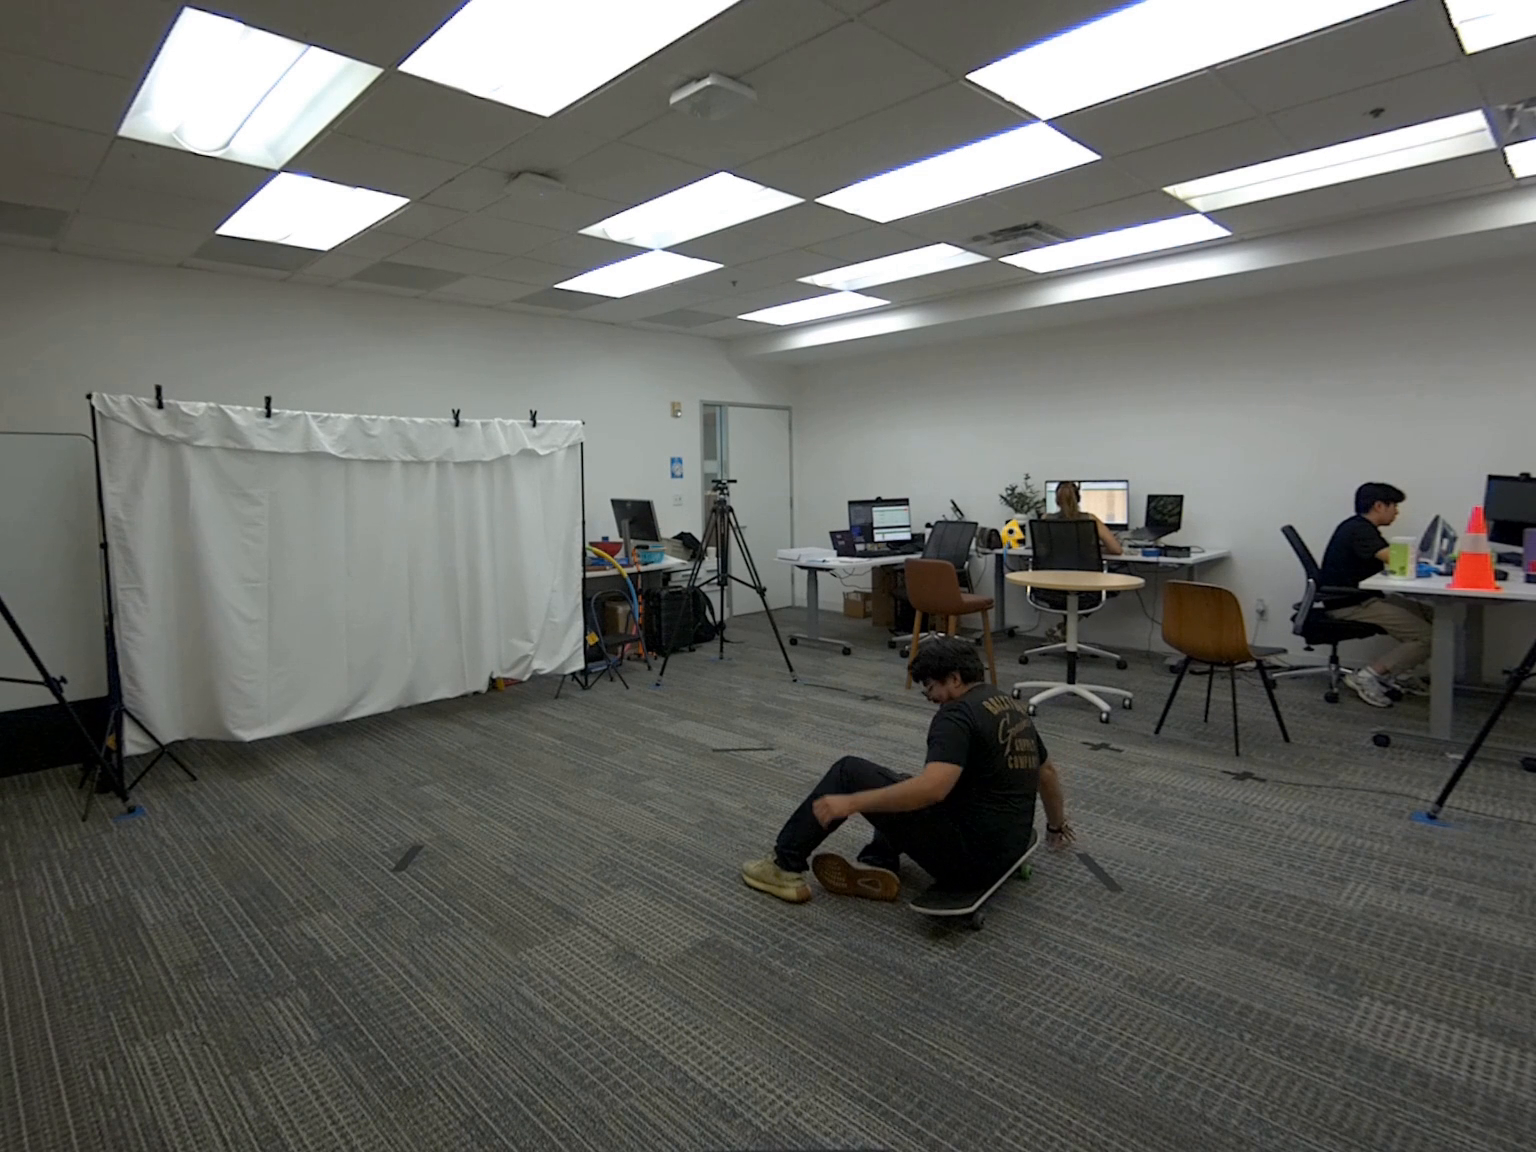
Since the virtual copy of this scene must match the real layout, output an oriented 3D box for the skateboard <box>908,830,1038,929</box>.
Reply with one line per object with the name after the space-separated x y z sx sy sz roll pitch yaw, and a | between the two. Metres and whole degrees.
0.708 1.005 2.845 0.198 0.110 0.766 -9 0 38 | skateboard
